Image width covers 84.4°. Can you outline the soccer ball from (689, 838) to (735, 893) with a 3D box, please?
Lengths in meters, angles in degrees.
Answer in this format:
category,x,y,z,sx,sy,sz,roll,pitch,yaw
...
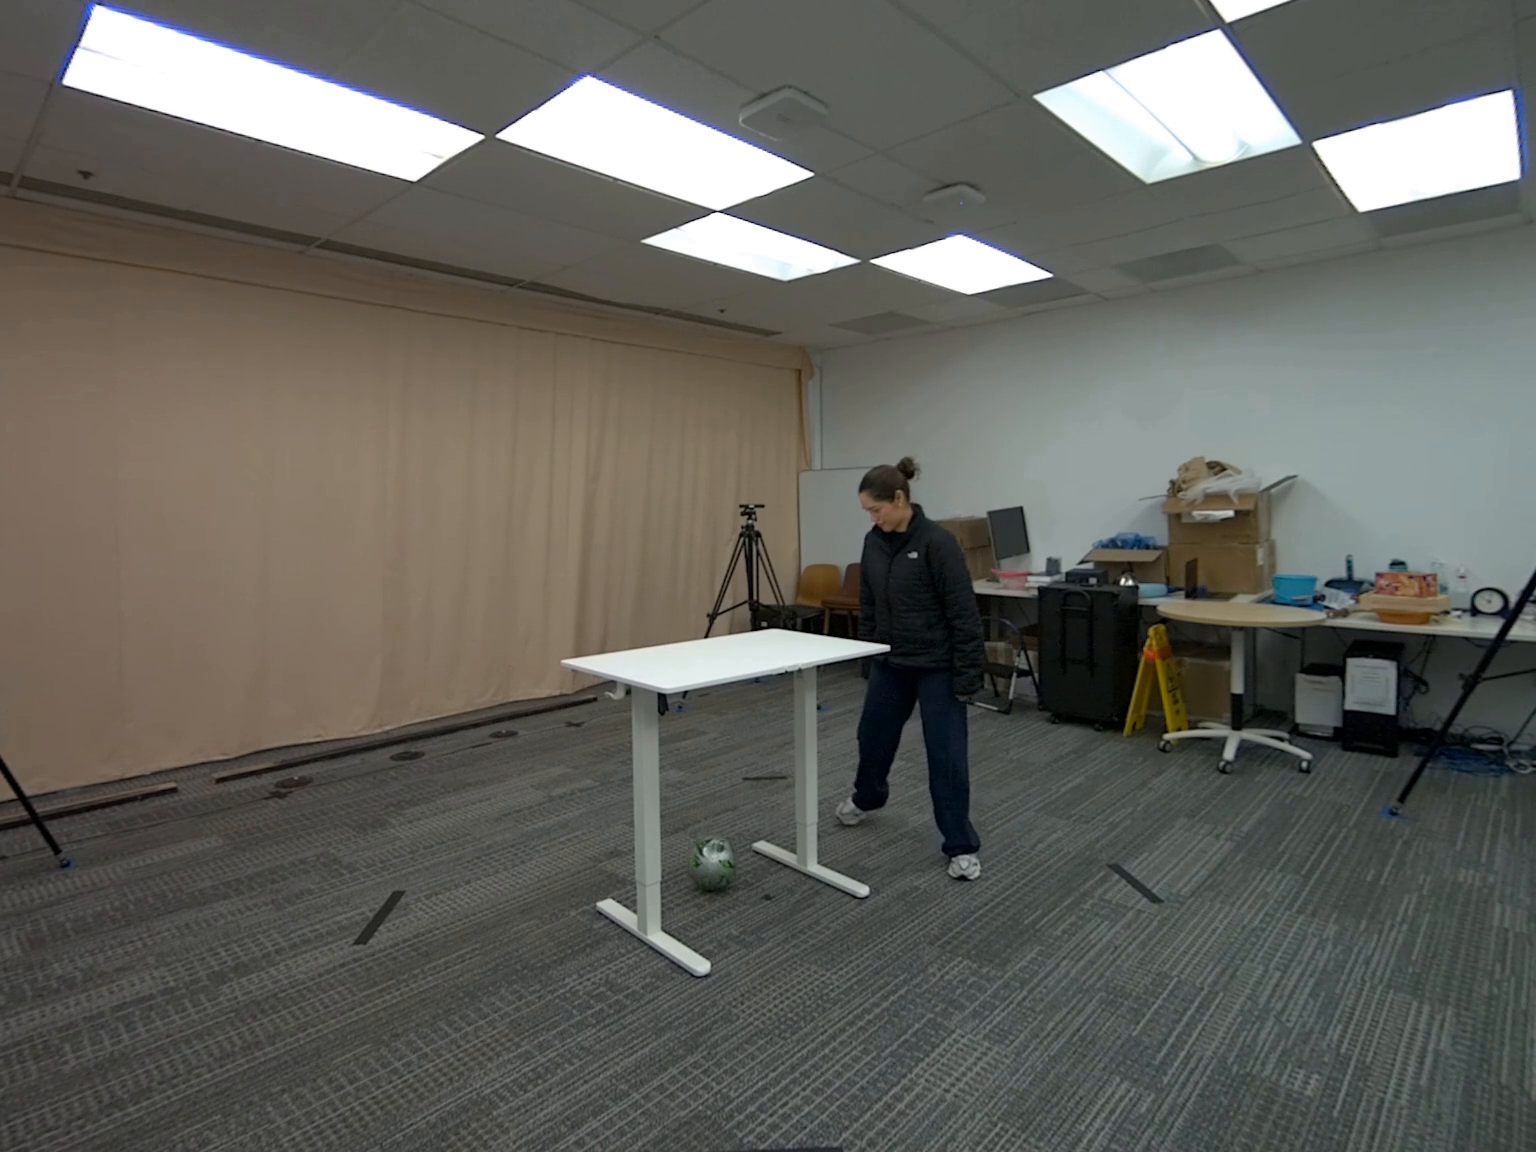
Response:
category,x,y,z,sx,sy,sz,roll,pitch,yaw
soccer ball,-0.197,1.044,3.057,0.187,0.187,0.188,-1,4,-2
